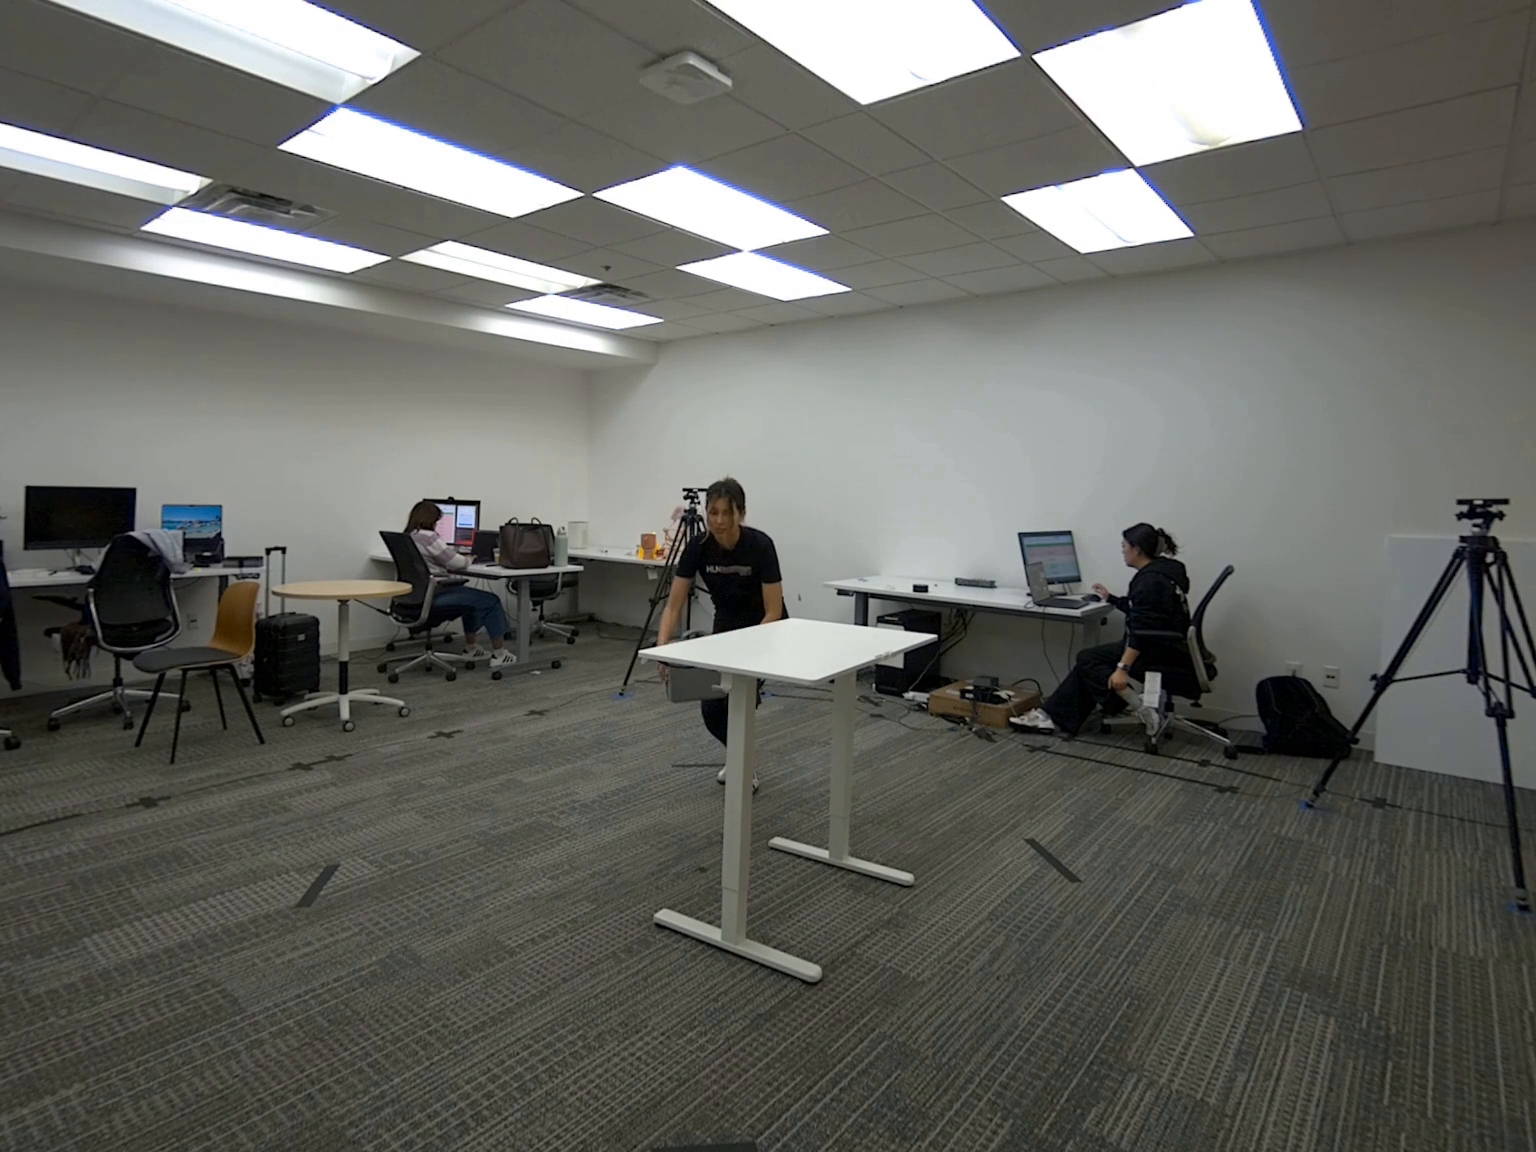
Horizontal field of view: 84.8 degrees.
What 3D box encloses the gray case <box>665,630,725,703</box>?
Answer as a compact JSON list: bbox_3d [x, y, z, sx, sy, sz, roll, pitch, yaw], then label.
[{"bbox_3d":[-0.309,0.387,3.537,0.254,0.259,0.106,-4,7,-10],"label":"gray case"}]
